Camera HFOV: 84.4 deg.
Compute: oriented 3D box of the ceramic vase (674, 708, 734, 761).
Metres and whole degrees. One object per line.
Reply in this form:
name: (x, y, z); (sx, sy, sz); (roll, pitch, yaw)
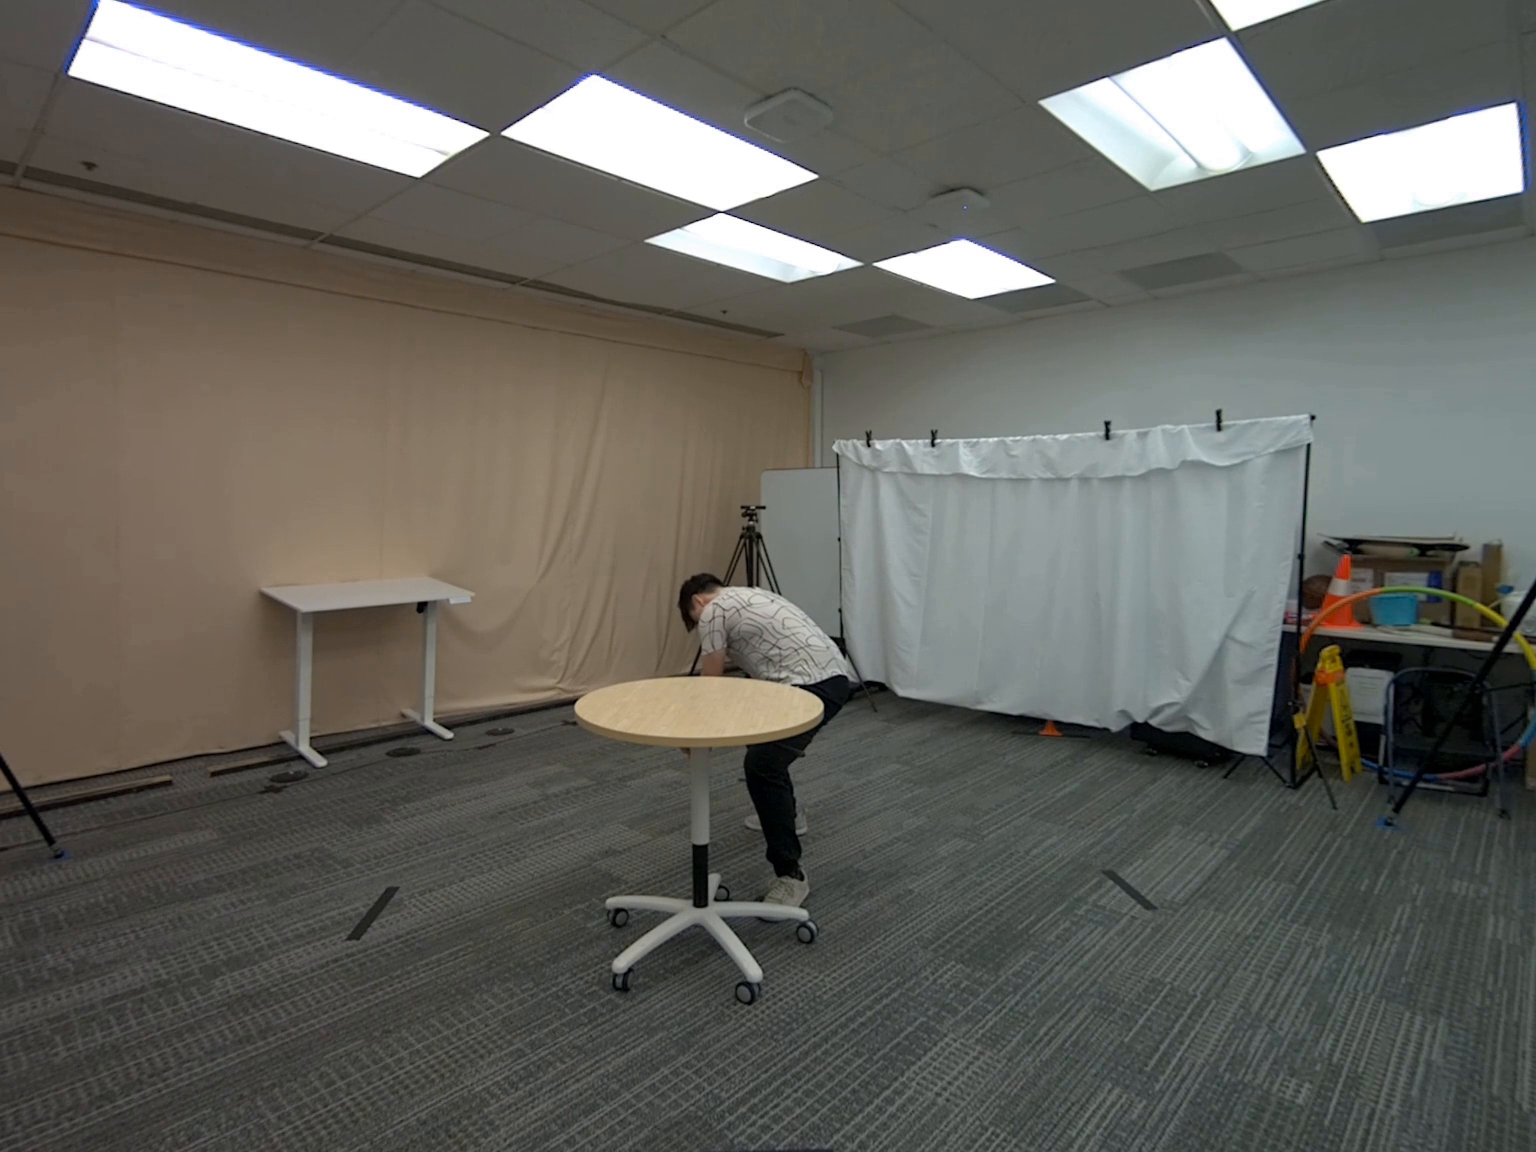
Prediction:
ceramic vase: (-0.277, 0.675, 3.606); (0.130, 0.161, 0.223); (12, -31, -37)
